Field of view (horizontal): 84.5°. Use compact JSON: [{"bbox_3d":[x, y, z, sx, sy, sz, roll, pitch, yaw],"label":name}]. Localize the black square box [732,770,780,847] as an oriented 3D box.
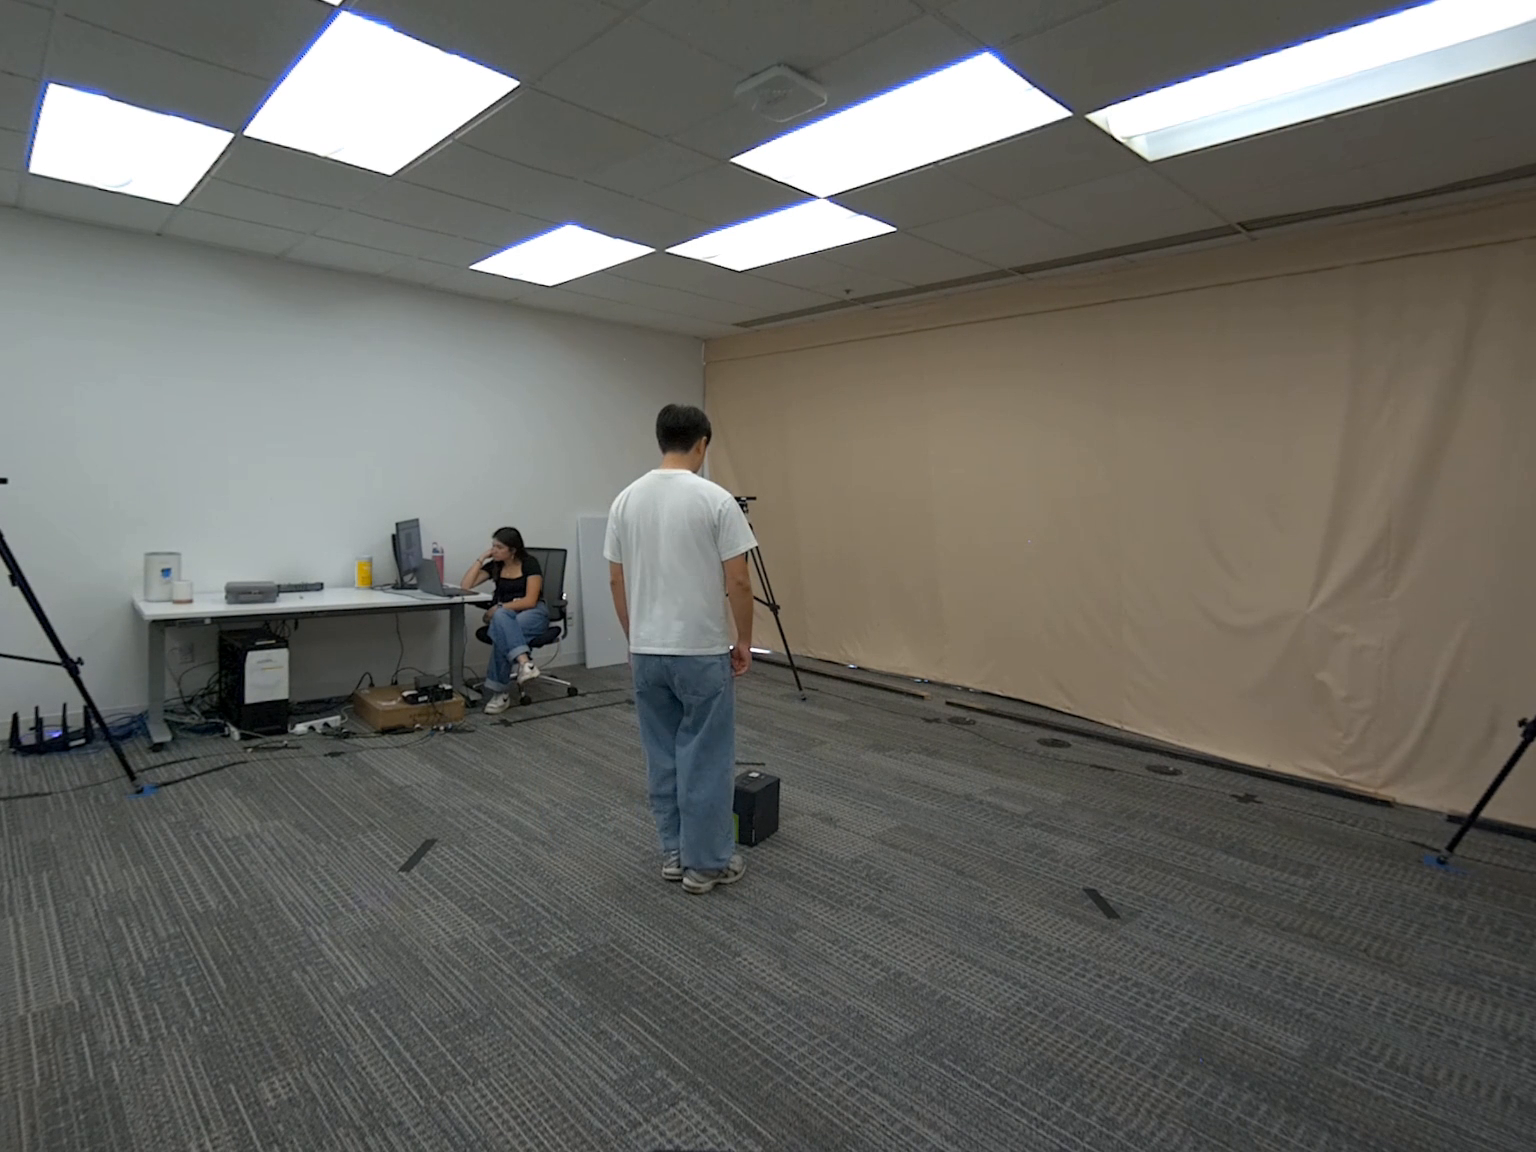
[{"bbox_3d":[-0.080,0.952,3.479,0.159,0.227,0.213,4,5,29],"label":"black square box"}]
